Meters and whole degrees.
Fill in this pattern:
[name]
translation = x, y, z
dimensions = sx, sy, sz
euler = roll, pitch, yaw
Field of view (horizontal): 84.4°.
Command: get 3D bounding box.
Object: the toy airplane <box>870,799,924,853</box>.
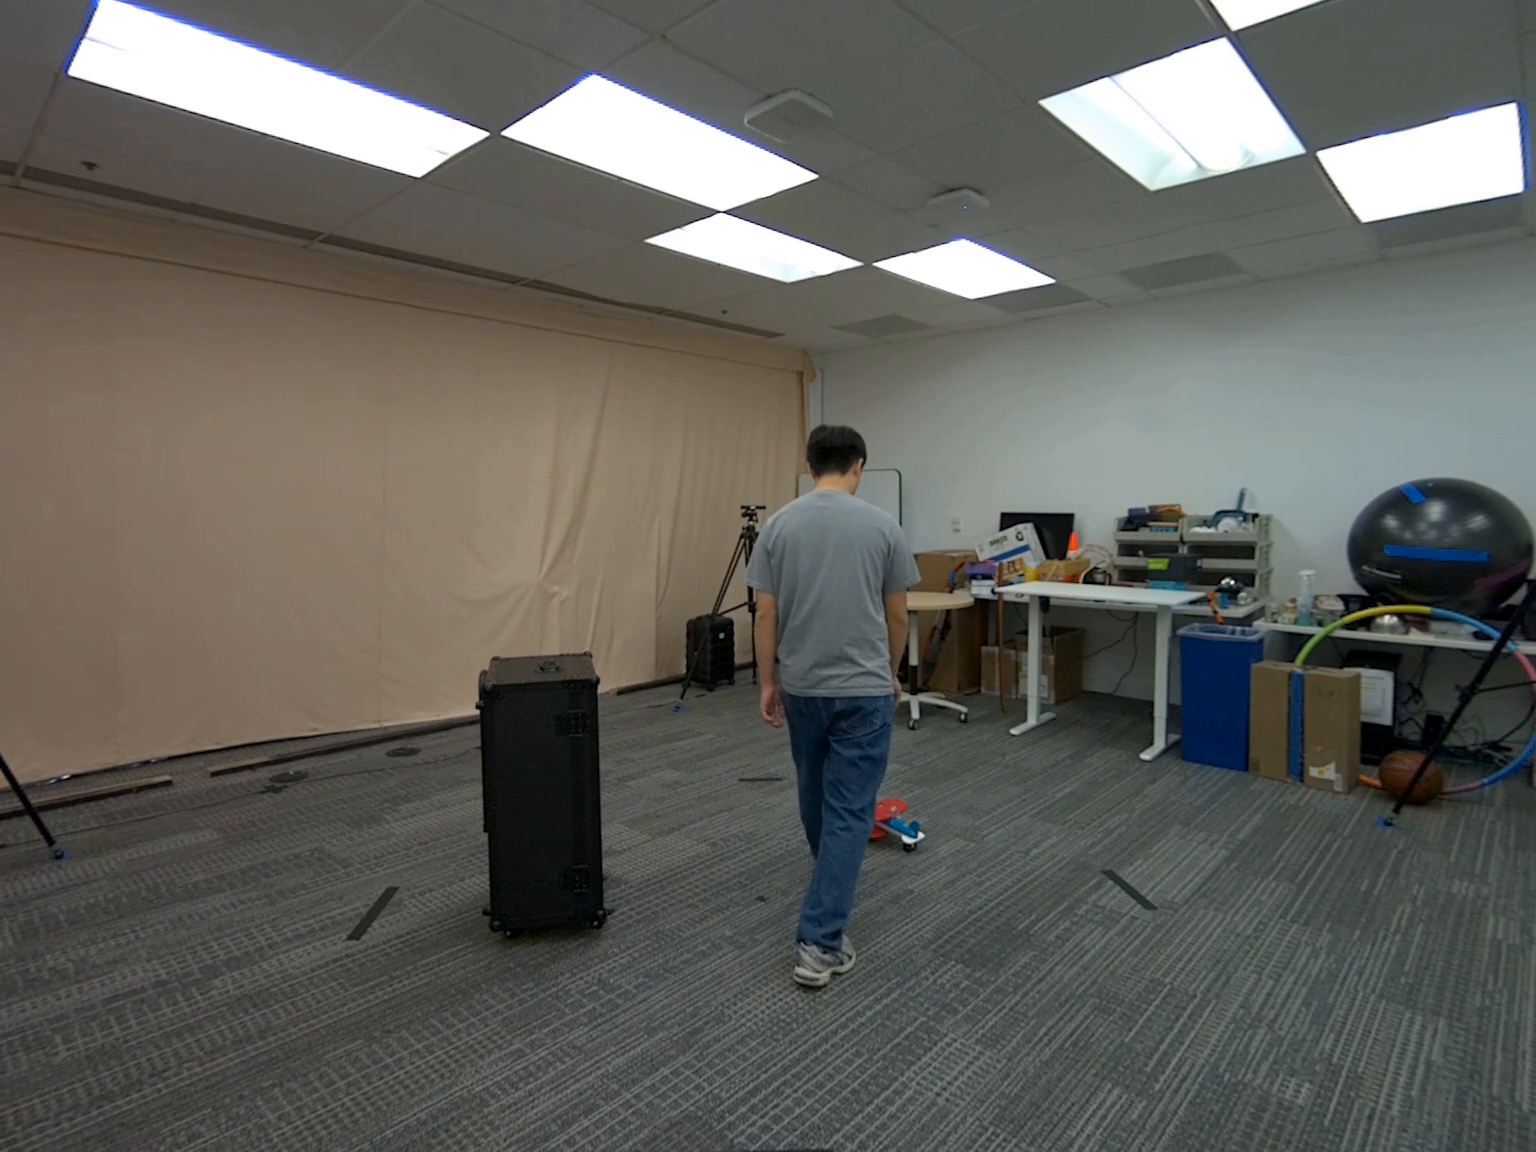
[toy airplane]
translation = 0.522, 1.028, 3.477
dimensions = 0.264, 0.156, 0.247
euler = 0, 4, 18
